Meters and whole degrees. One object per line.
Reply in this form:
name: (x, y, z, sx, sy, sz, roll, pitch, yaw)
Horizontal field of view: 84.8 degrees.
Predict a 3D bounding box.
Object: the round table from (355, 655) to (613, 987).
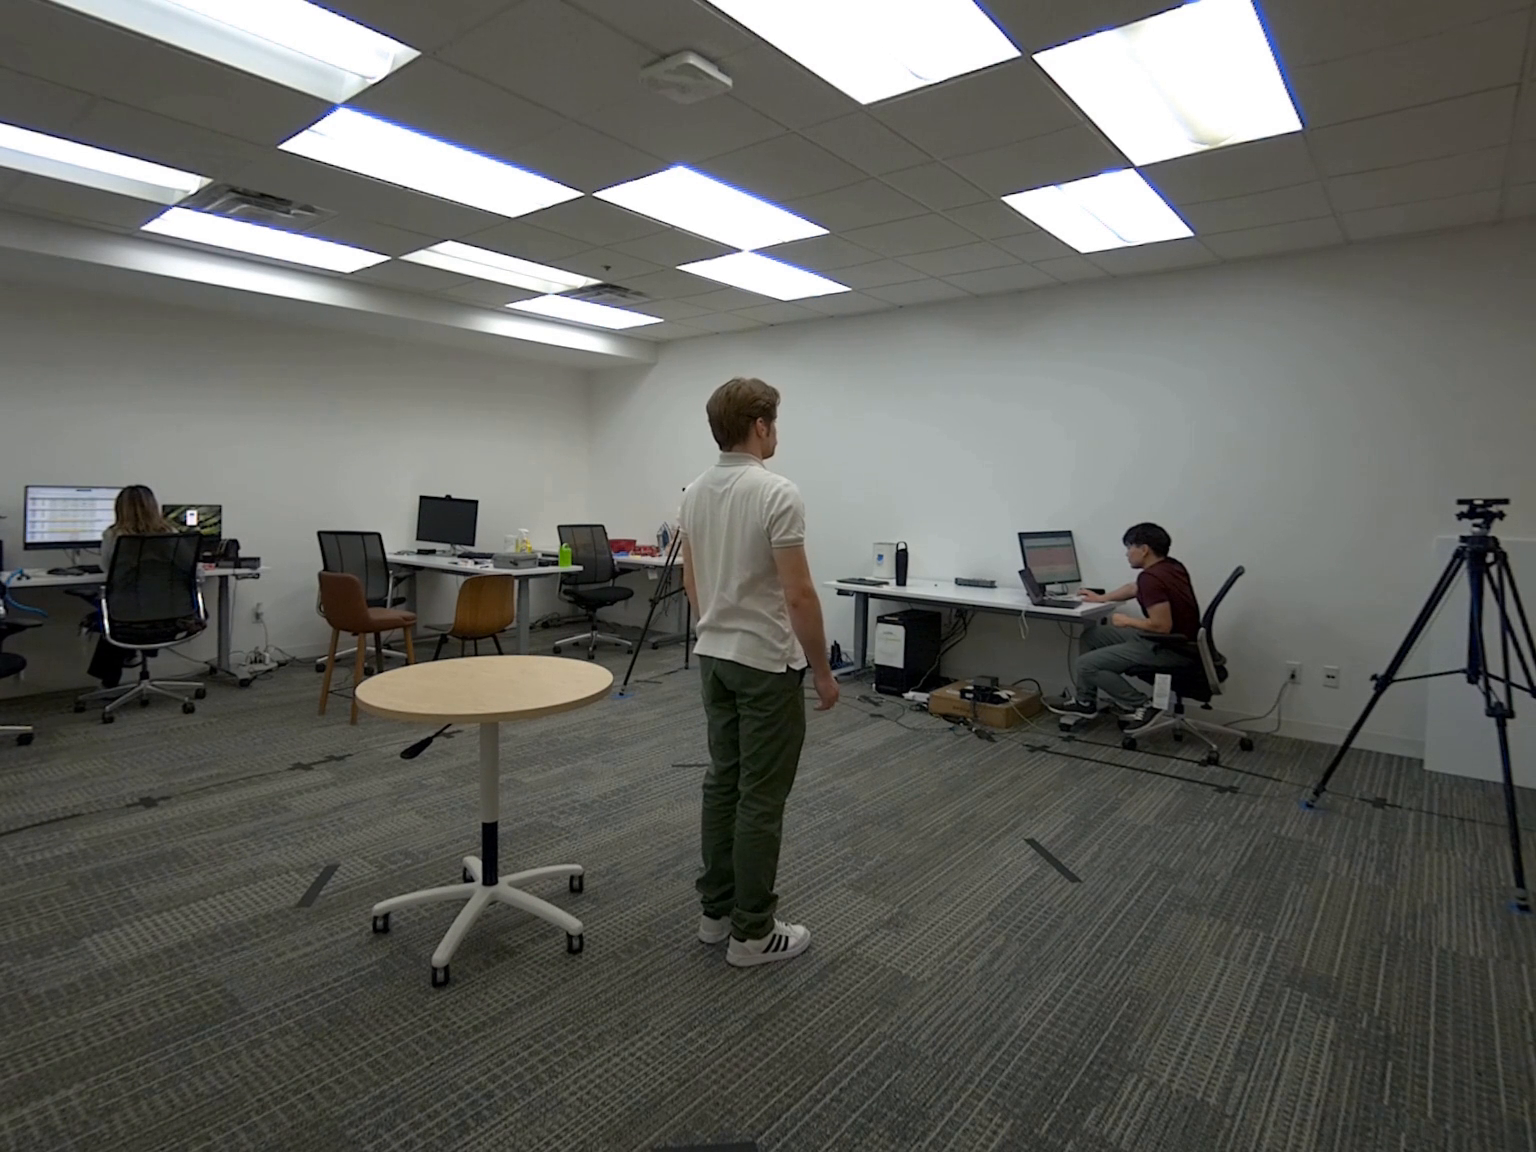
round table: (-0.865, 0.711, 2.651, 0.784, 0.784, 0.789, 0, 5, -2)
